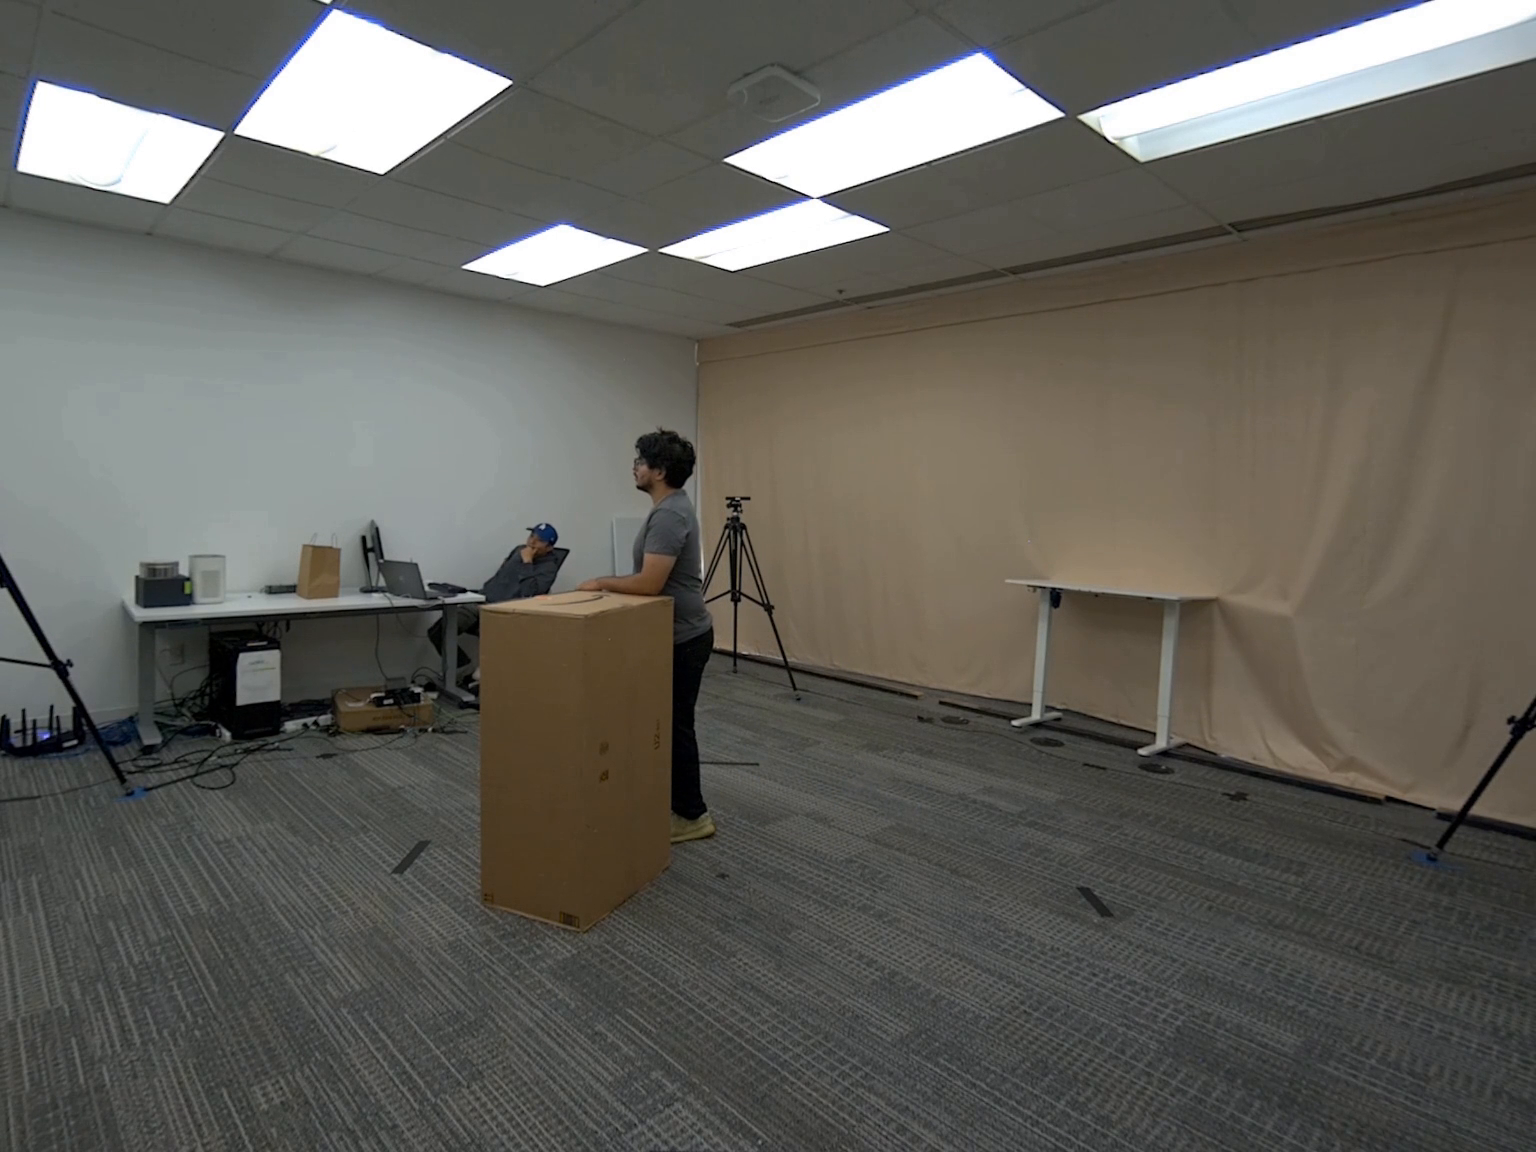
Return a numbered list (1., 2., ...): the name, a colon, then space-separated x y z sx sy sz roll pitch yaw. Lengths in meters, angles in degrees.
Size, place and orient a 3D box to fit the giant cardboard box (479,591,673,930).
1. giant cardboard box: -0.678 0.598 2.984 0.434 1.023 0.568 3 4 25
